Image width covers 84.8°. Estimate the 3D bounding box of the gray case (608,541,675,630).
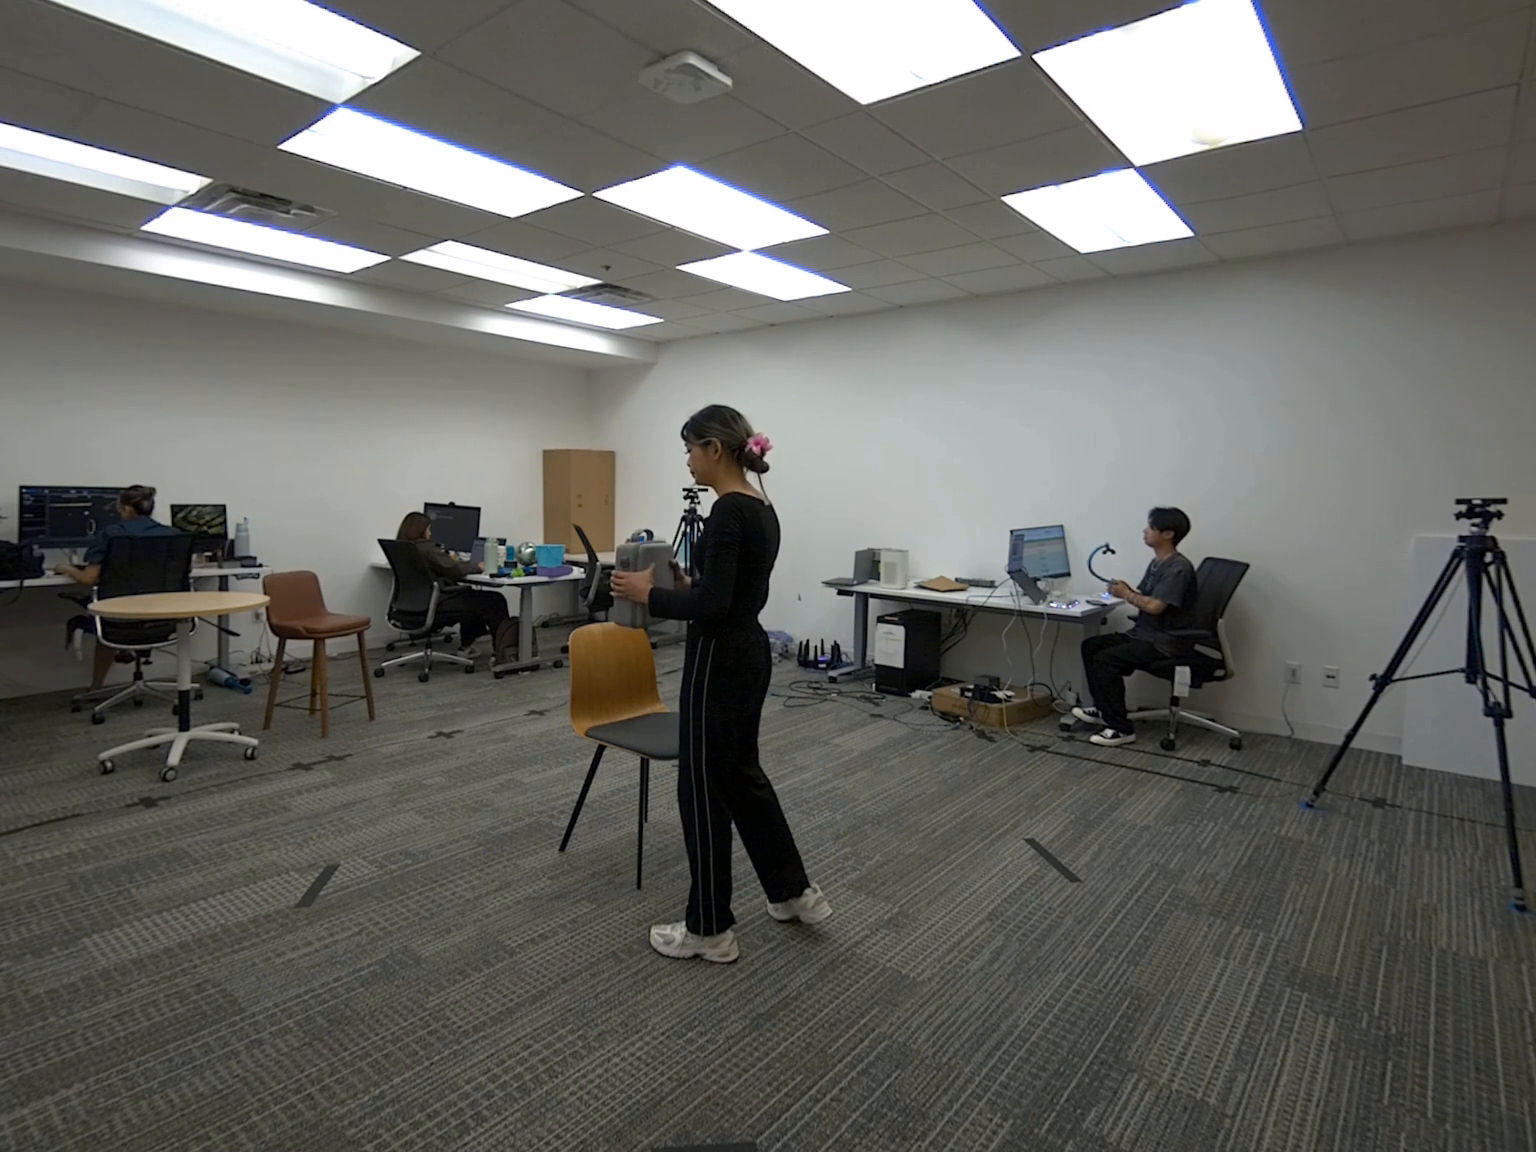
[{"bbox_3d":[-0.386,0.019,2.597,0.106,0.260,0.253,-2,2,16],"label":"gray case"}]
